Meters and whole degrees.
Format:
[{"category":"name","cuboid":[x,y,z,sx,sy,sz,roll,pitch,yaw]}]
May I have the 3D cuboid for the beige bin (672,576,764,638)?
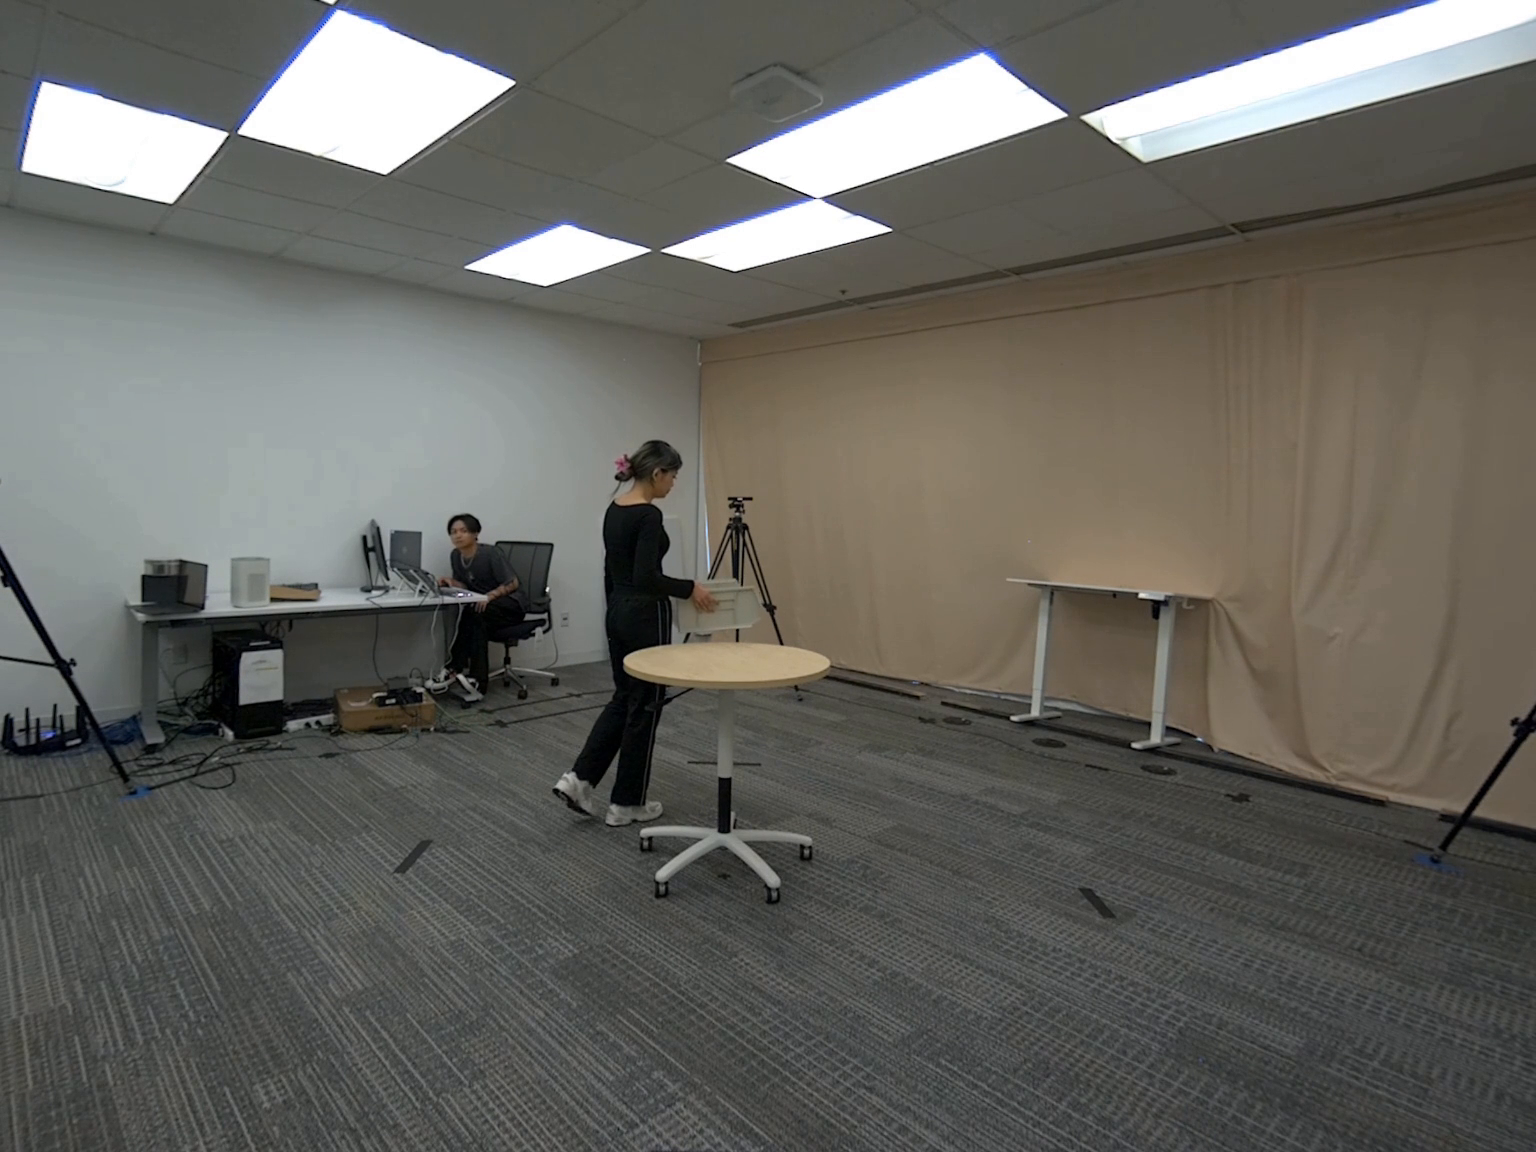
[{"category":"beige bin","cuboid":[-0.260,0.127,3.773,0.374,0.188,0.427,-5,5,-12]}]
